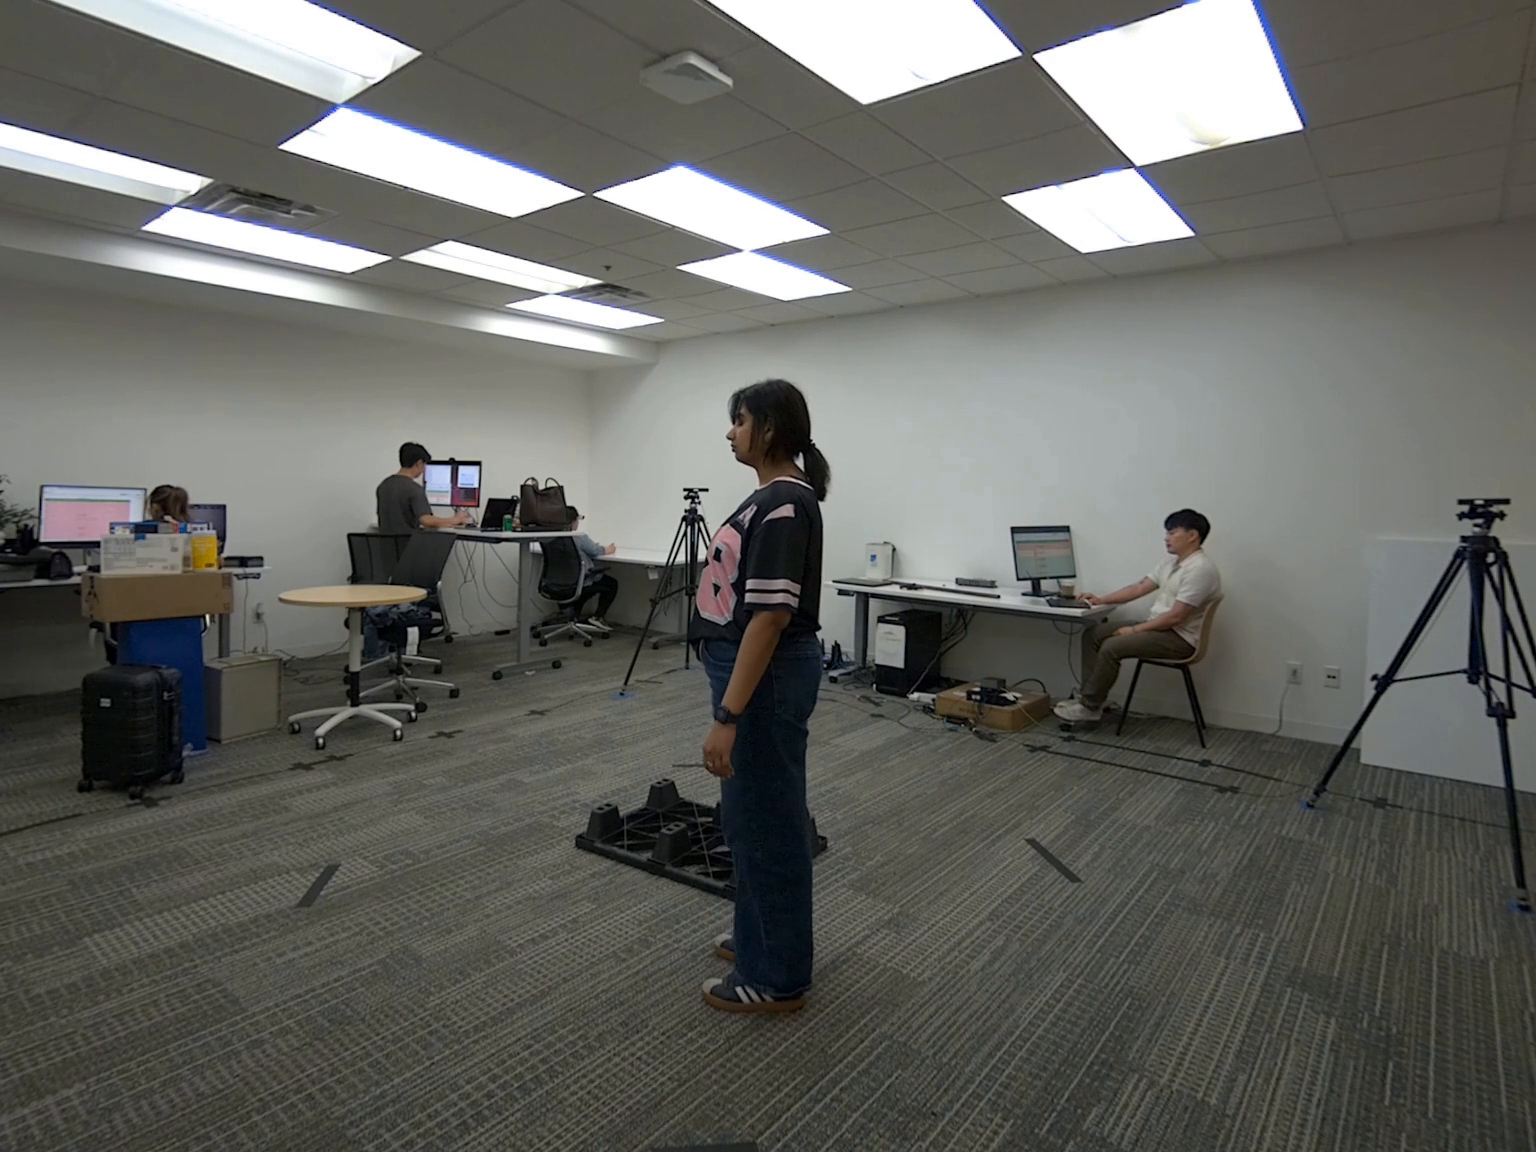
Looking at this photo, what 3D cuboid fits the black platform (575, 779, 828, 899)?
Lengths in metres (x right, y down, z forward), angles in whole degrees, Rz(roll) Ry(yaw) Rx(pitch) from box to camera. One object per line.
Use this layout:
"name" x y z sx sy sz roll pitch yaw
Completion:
"black platform" -0.261 0.984 3.302 0.831 0.143 0.589 5 7 32
